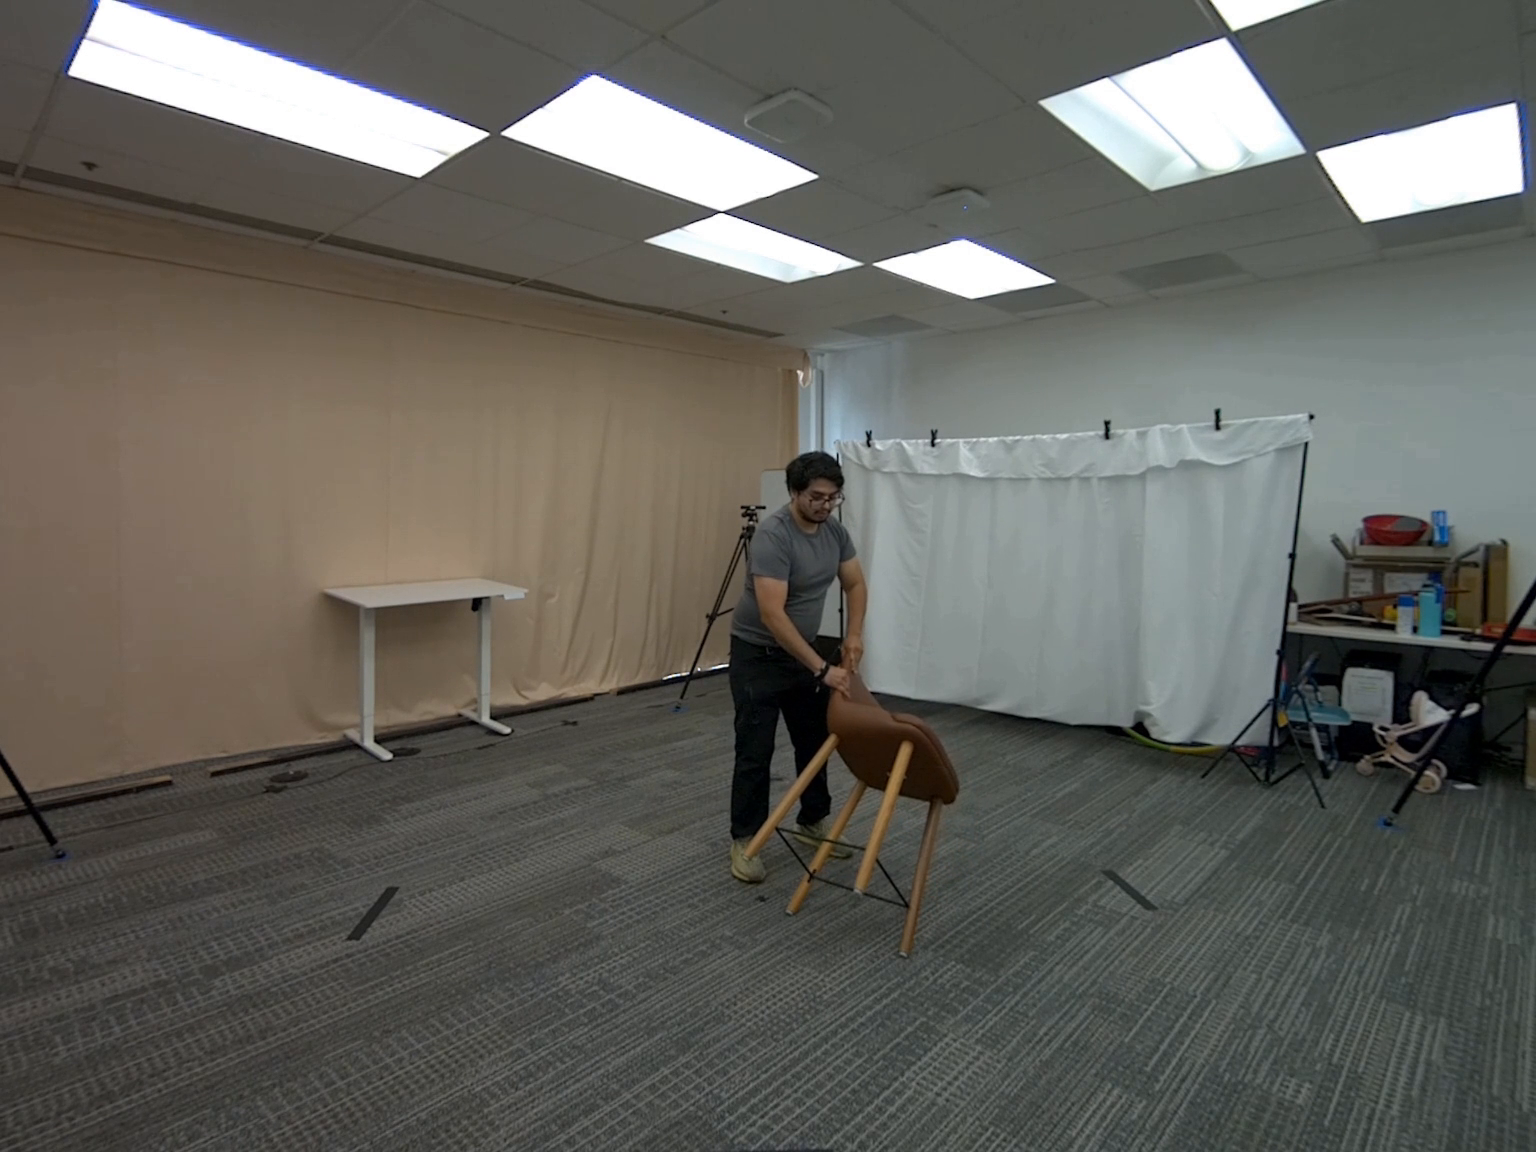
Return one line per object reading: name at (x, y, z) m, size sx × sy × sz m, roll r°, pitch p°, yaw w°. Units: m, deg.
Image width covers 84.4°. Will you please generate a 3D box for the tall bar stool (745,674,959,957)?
tall bar stool at (0.360, 0.723, 2.874) m, size 0.482 × 0.443 × 0.889 m, roll -2°, pitch 44°, yaw 37°
